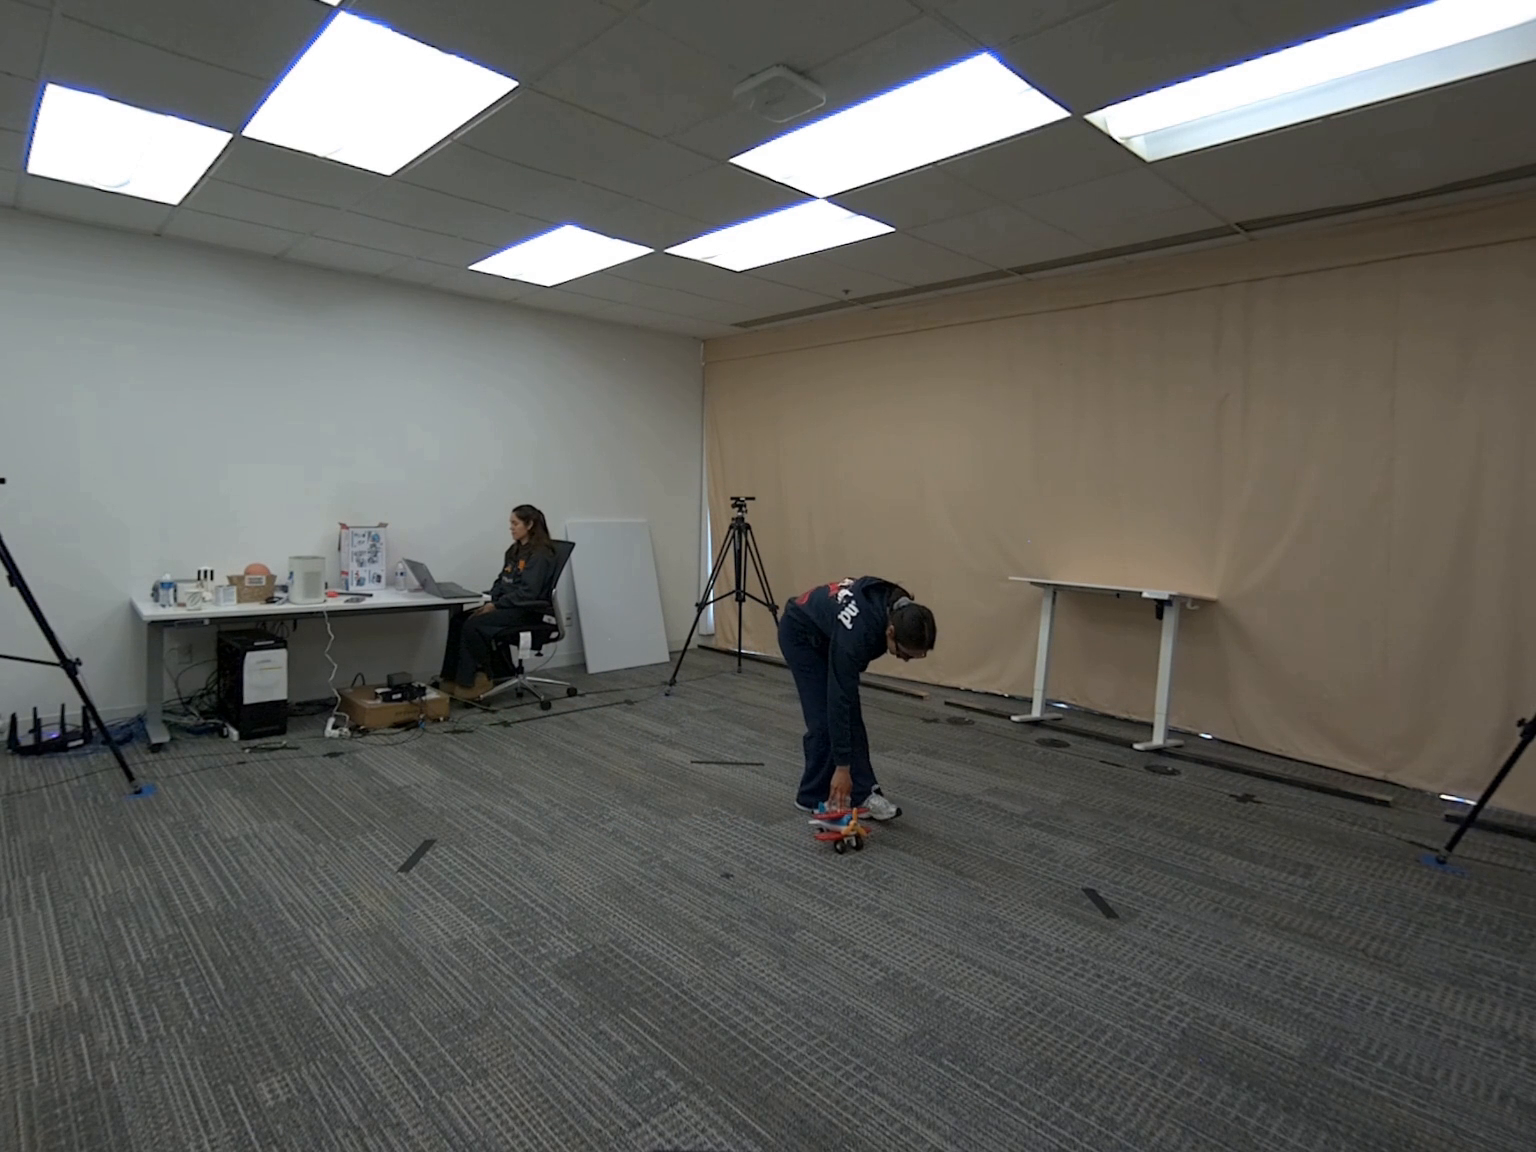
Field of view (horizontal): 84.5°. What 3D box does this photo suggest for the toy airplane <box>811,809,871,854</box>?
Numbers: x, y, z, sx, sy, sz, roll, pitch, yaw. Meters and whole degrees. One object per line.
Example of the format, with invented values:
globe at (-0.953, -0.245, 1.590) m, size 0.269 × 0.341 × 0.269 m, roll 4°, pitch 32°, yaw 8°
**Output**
toy airplane at (0.255, 1.016, 3.418) m, size 0.265 × 0.156 × 0.246 m, roll 6°, pitch 6°, yaw 32°
